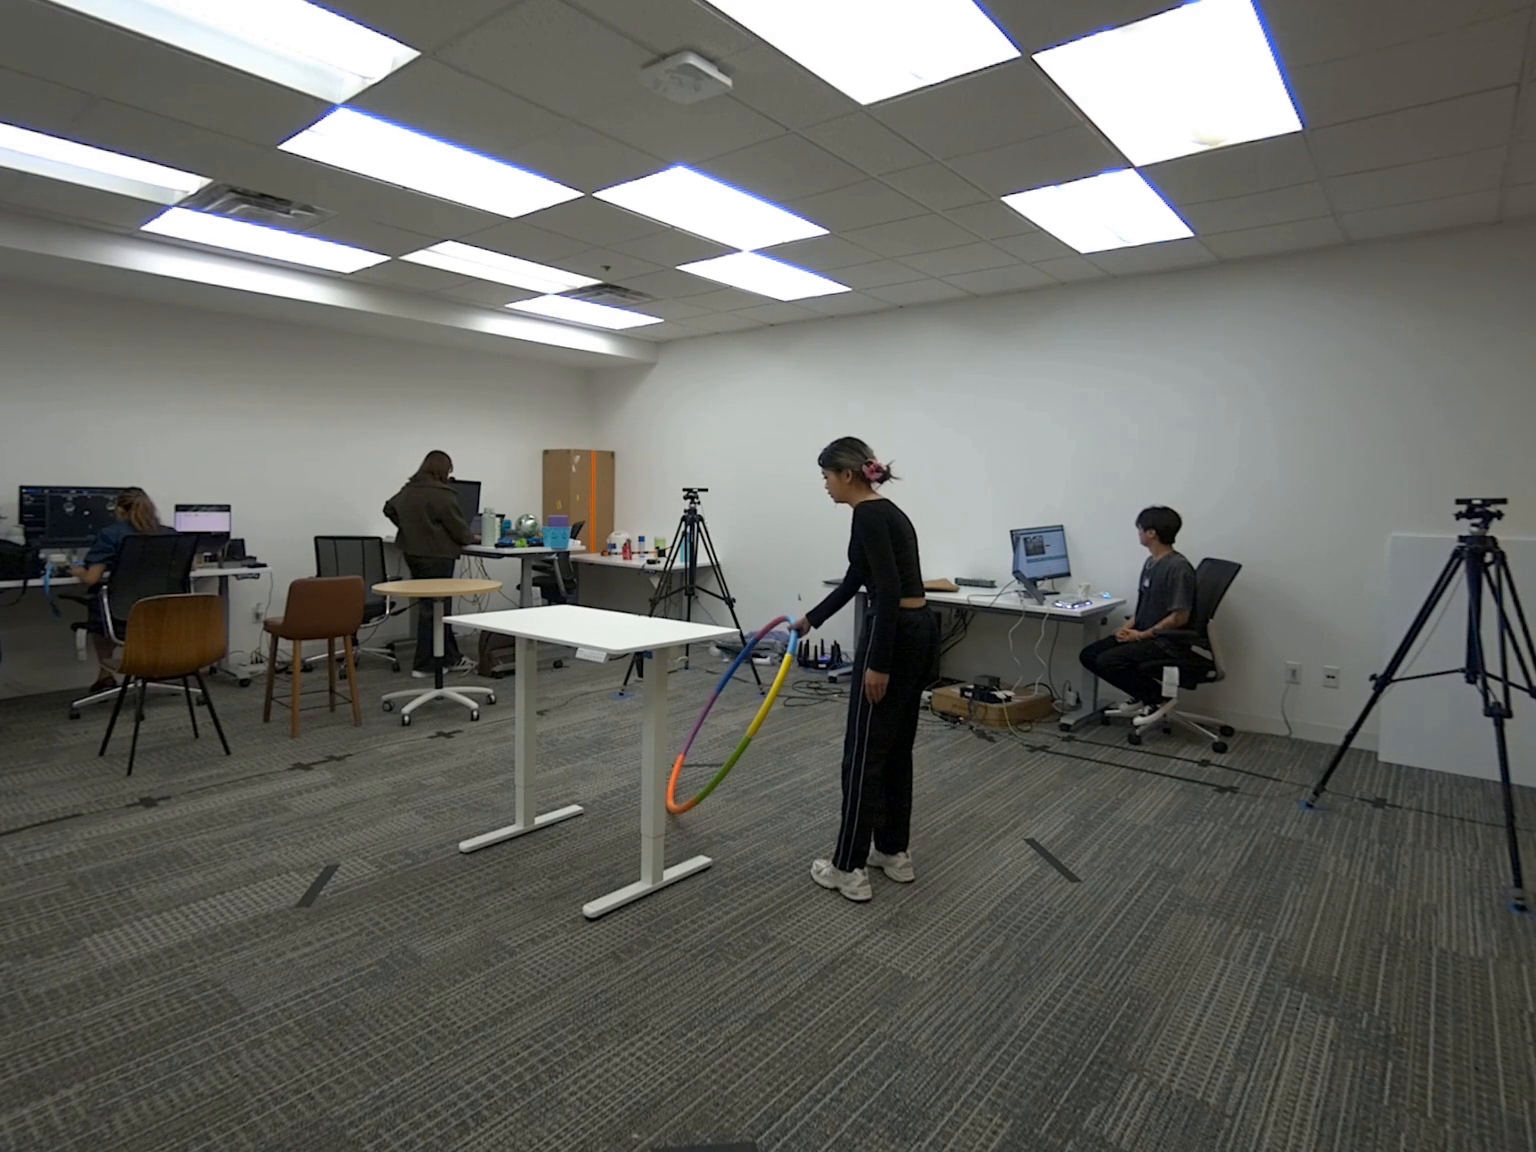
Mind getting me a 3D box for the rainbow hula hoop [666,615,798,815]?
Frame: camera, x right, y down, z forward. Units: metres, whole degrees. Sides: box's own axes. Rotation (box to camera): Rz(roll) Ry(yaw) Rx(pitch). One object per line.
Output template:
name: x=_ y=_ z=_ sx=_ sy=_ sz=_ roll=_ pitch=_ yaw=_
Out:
rainbow hula hoop: x=-0.174 y=0.586 z=3.744 sx=0.035 sy=0.978 sz=0.990 roll=35 pitch=0 yaw=-10
